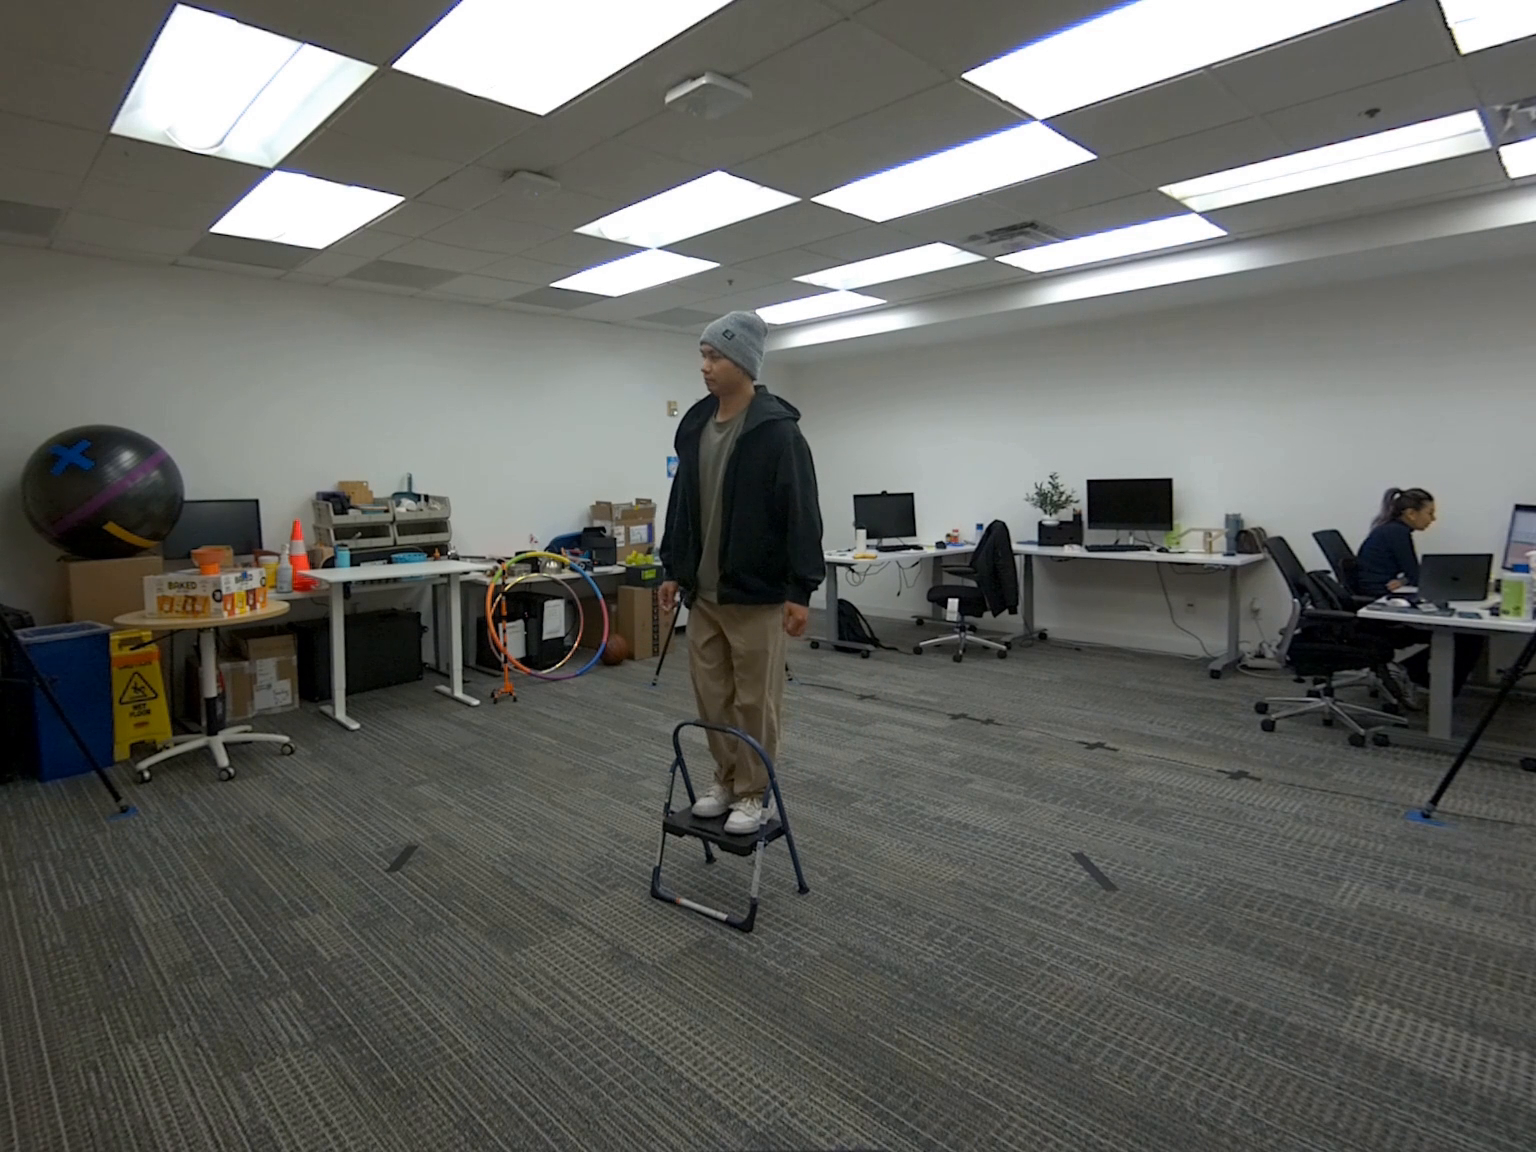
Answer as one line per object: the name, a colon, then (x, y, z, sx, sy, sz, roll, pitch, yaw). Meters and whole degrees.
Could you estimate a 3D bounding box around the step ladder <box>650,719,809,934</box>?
step ladder: (-0.138, 0.774, 2.864, 0.443, 0.603, 0.341, 2, 6, 35)
